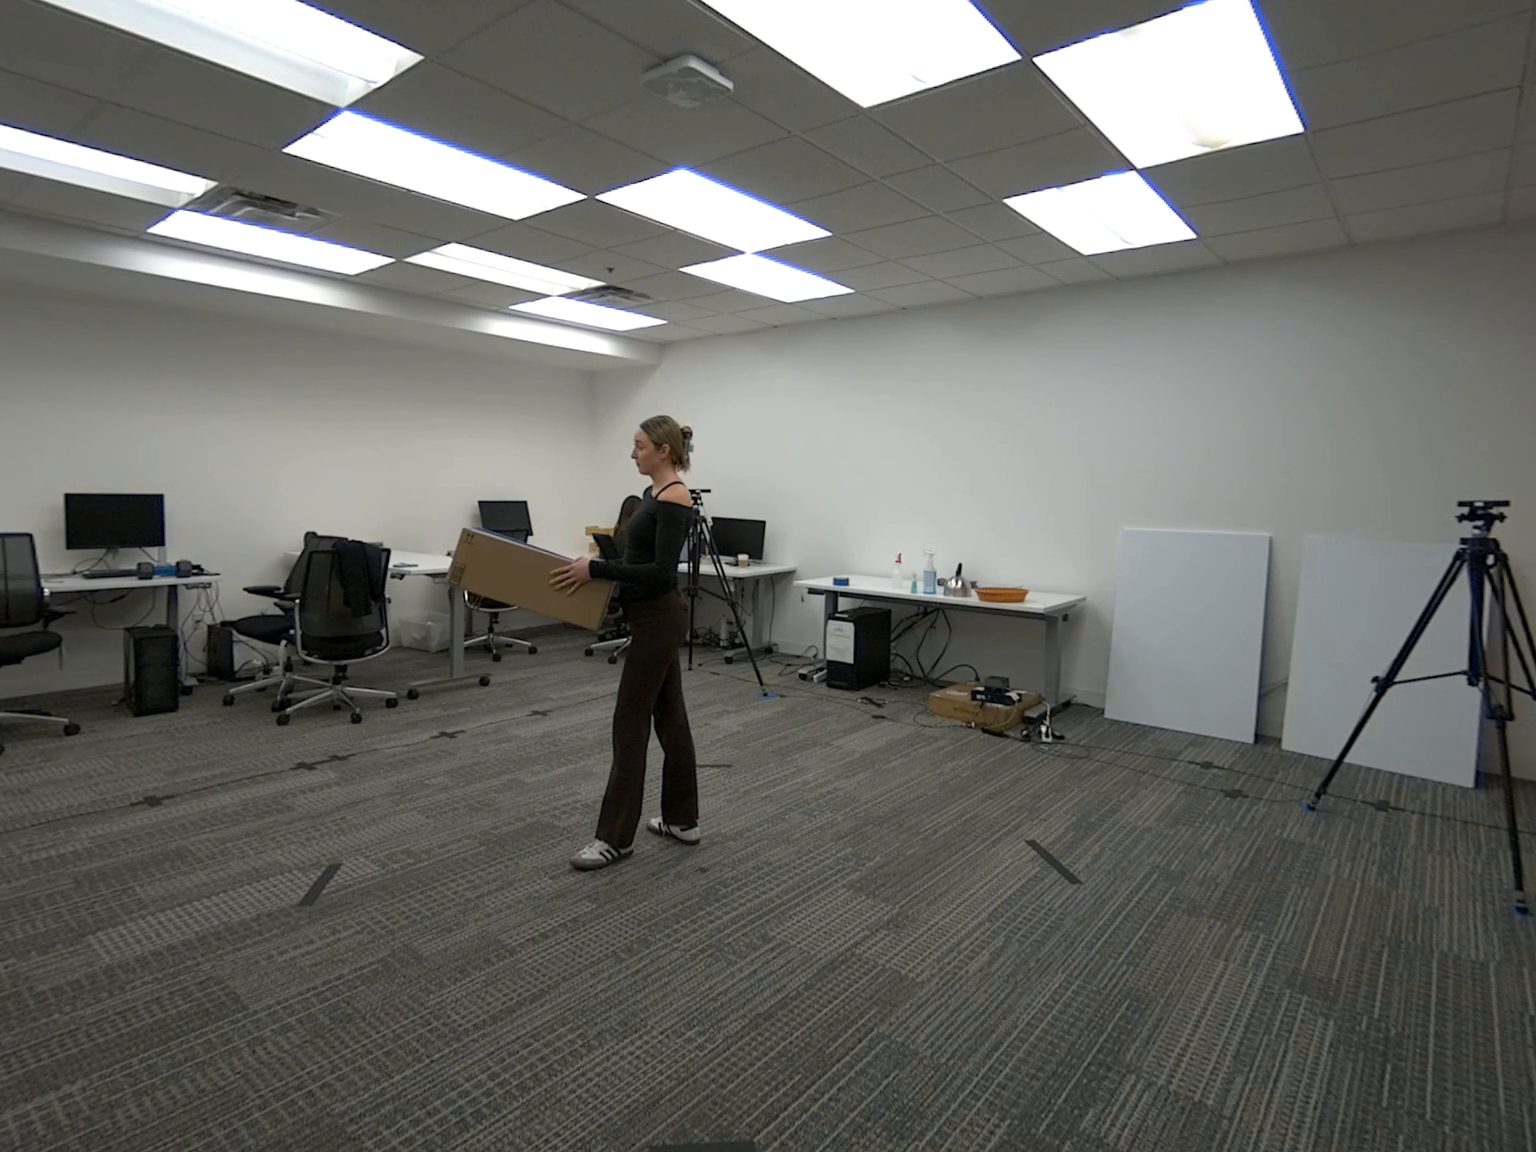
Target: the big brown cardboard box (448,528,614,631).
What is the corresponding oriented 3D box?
[{"bbox_3d":[-0.902,0.007,3.248,0.585,0.234,0.420,19,-4,-6],"label":"big brown cardboard box"}]
